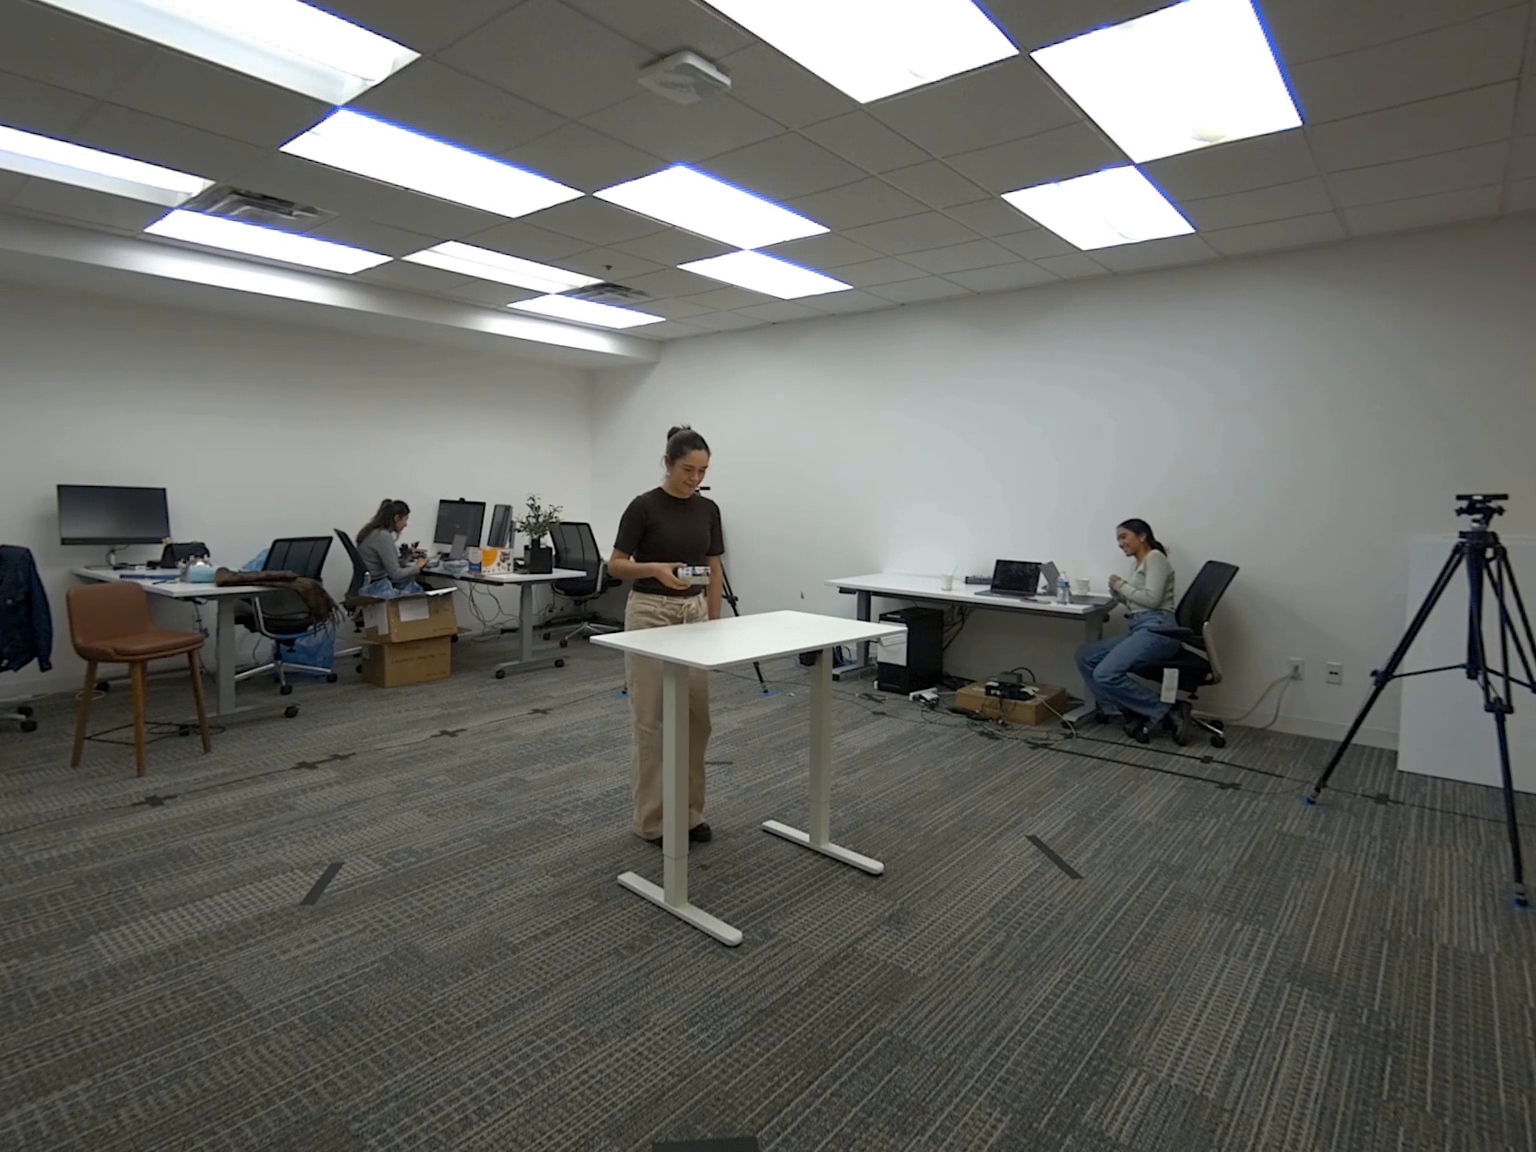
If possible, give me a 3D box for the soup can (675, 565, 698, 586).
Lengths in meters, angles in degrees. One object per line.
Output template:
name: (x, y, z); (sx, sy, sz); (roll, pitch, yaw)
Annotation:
soup can: (-0.328, 0.022, 3.142); (0.067, 0.121, 0.067); (0, 4, -2)
